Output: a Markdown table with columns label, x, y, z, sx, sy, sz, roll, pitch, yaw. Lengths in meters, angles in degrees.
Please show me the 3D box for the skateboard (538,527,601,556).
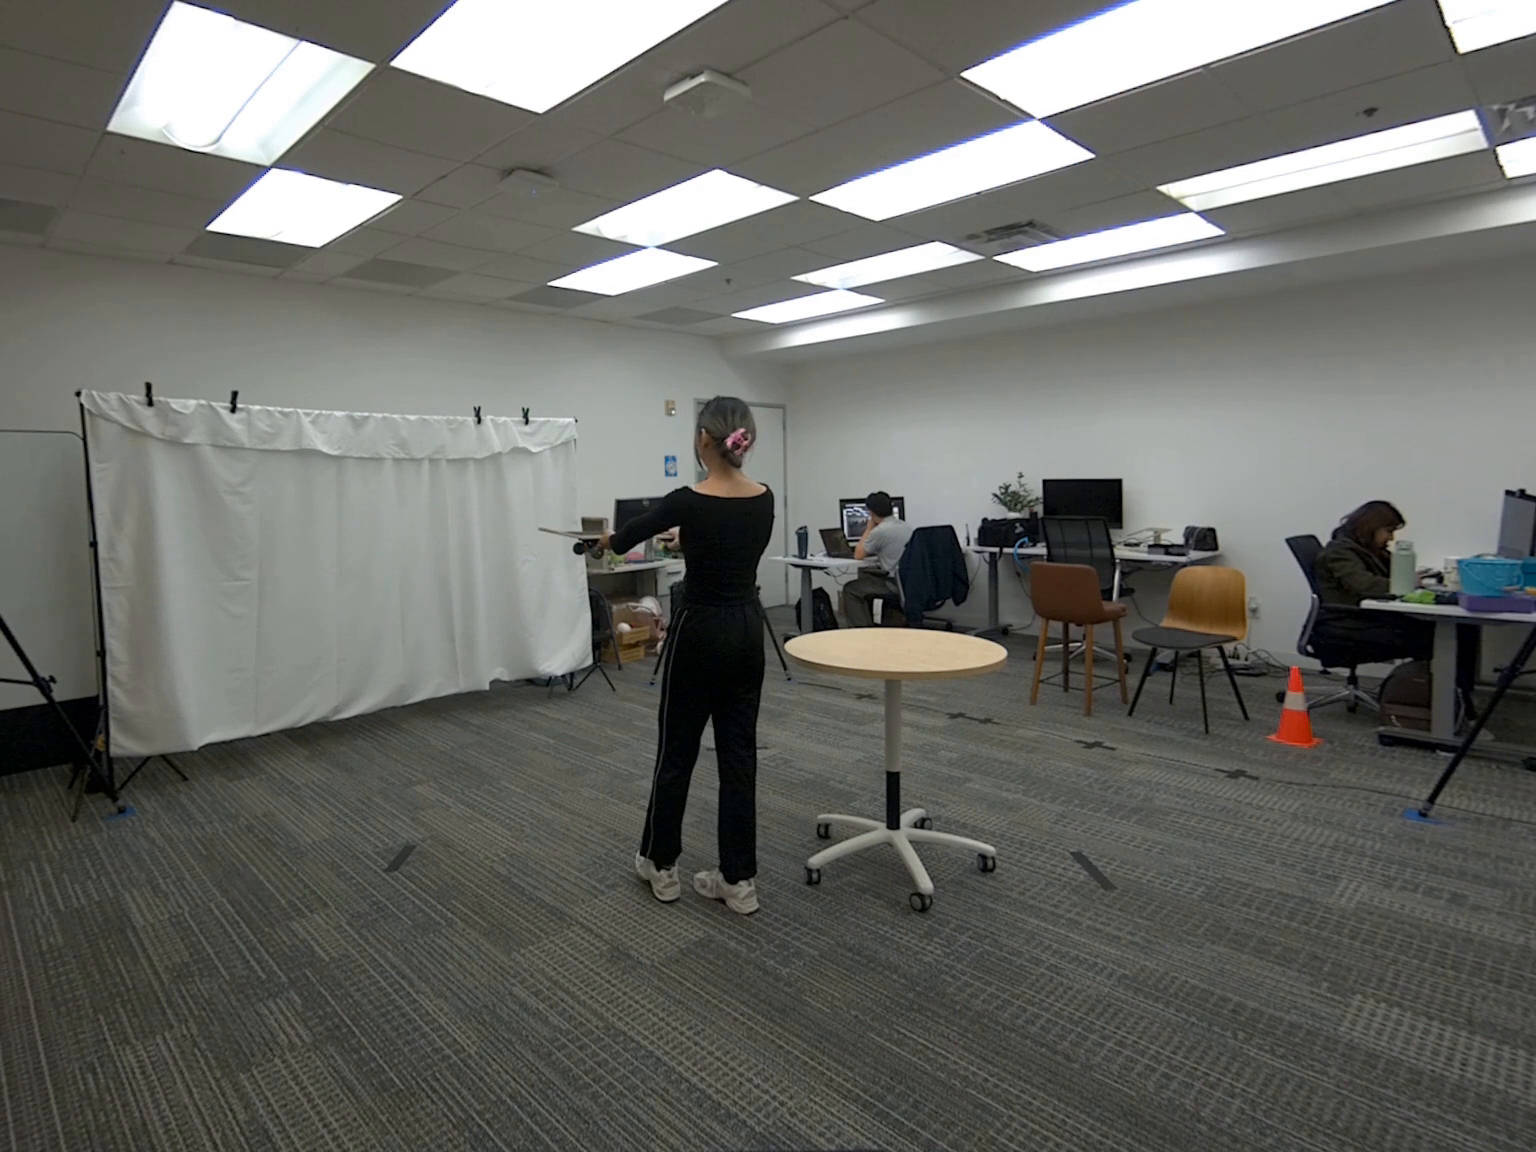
| label | x | y | z | sx | sy | sz | roll | pitch | yaw |
| --- | --- | --- | --- | --- | --- | --- | --- | --- | --- |
| skateboard | -0.515 | -0.127 | 3.320 | 0.764 | 0.110 | 0.199 | -1 | 7 | -37 |
